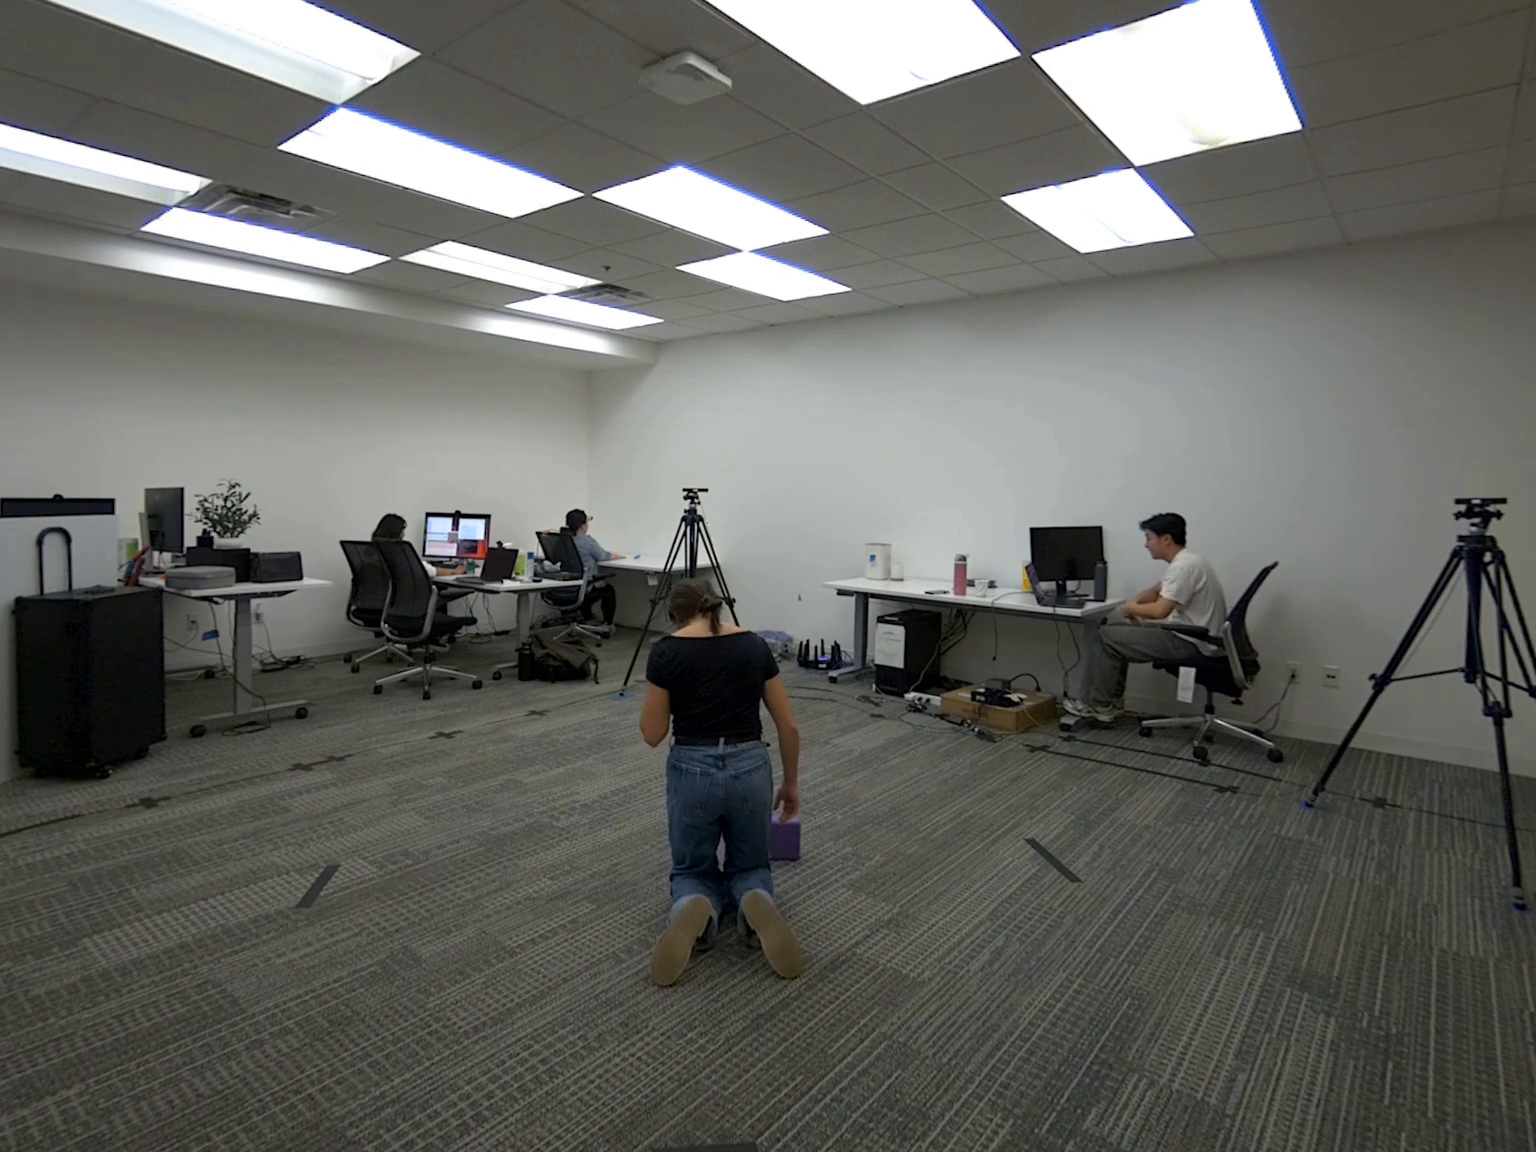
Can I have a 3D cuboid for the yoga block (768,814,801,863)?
[{"bbox_3d":[0.011,0.982,3.224,0.229,0.148,0.077,0,3,-2],"label":"yoga block"}]
